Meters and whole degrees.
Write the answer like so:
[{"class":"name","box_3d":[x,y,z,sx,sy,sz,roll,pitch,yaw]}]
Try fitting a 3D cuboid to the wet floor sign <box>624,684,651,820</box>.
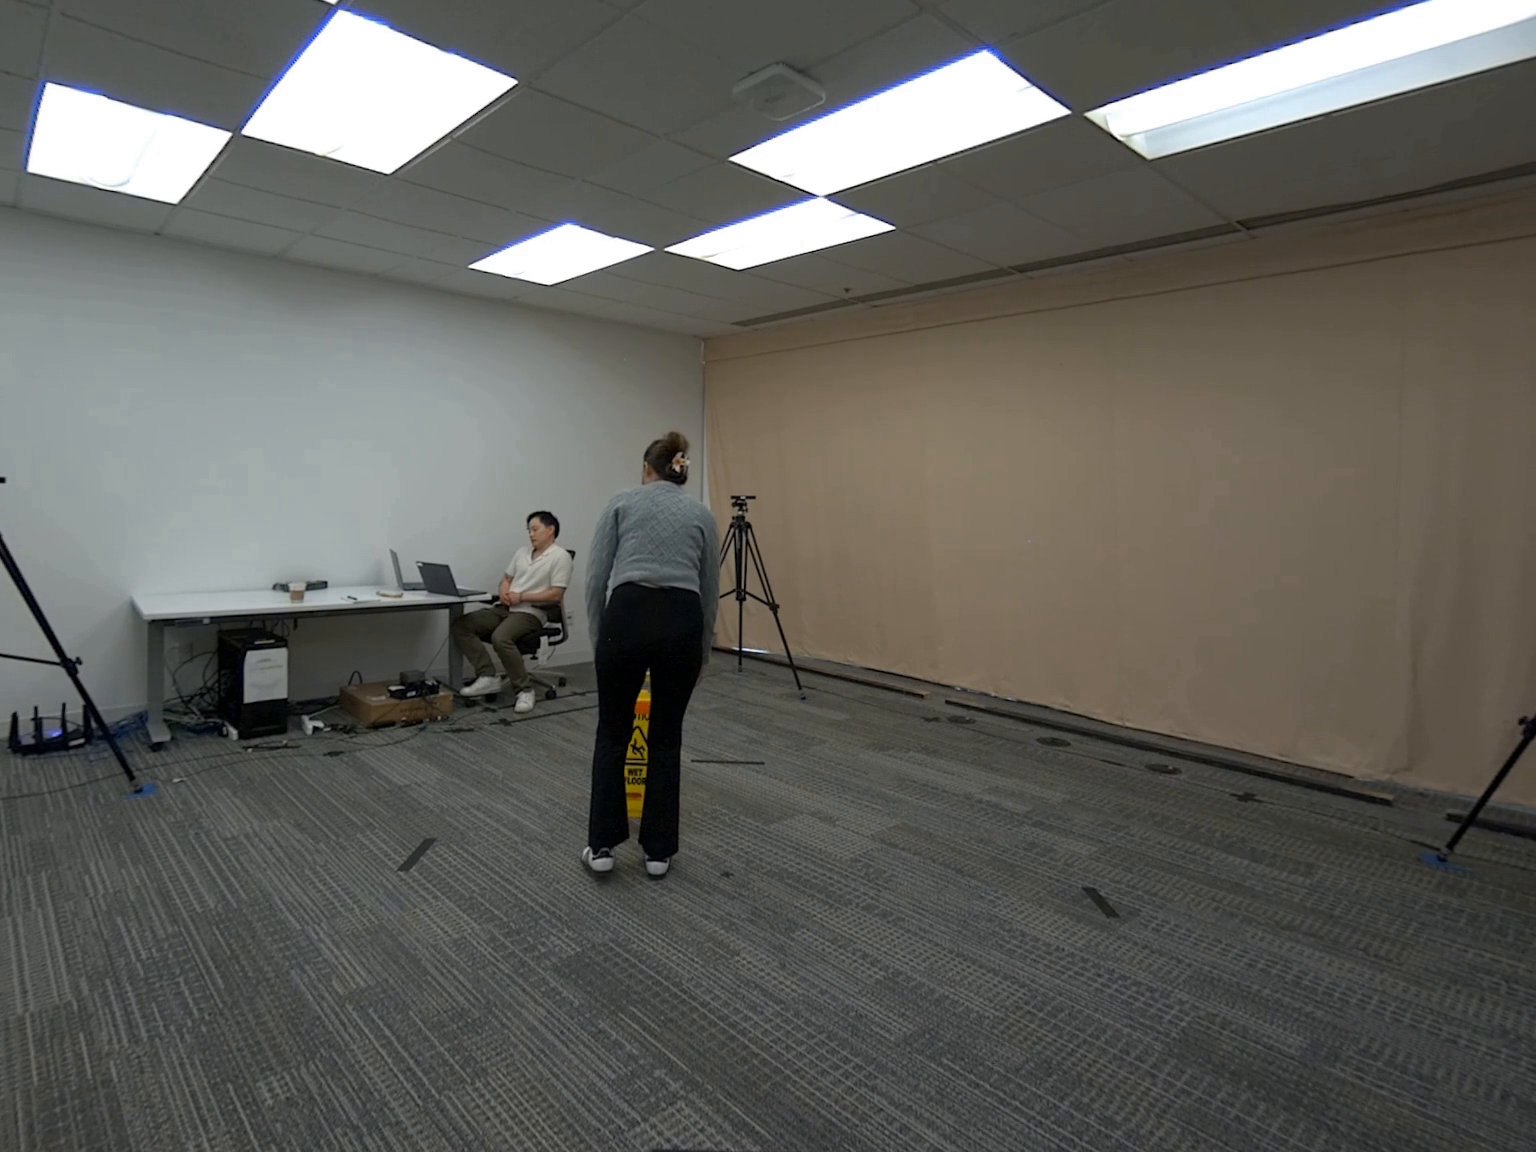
[{"class":"wet floor sign","box_3d":[-0.550,0.730,3.561,0.282,0.645,0.290,3,2,-2]}]
